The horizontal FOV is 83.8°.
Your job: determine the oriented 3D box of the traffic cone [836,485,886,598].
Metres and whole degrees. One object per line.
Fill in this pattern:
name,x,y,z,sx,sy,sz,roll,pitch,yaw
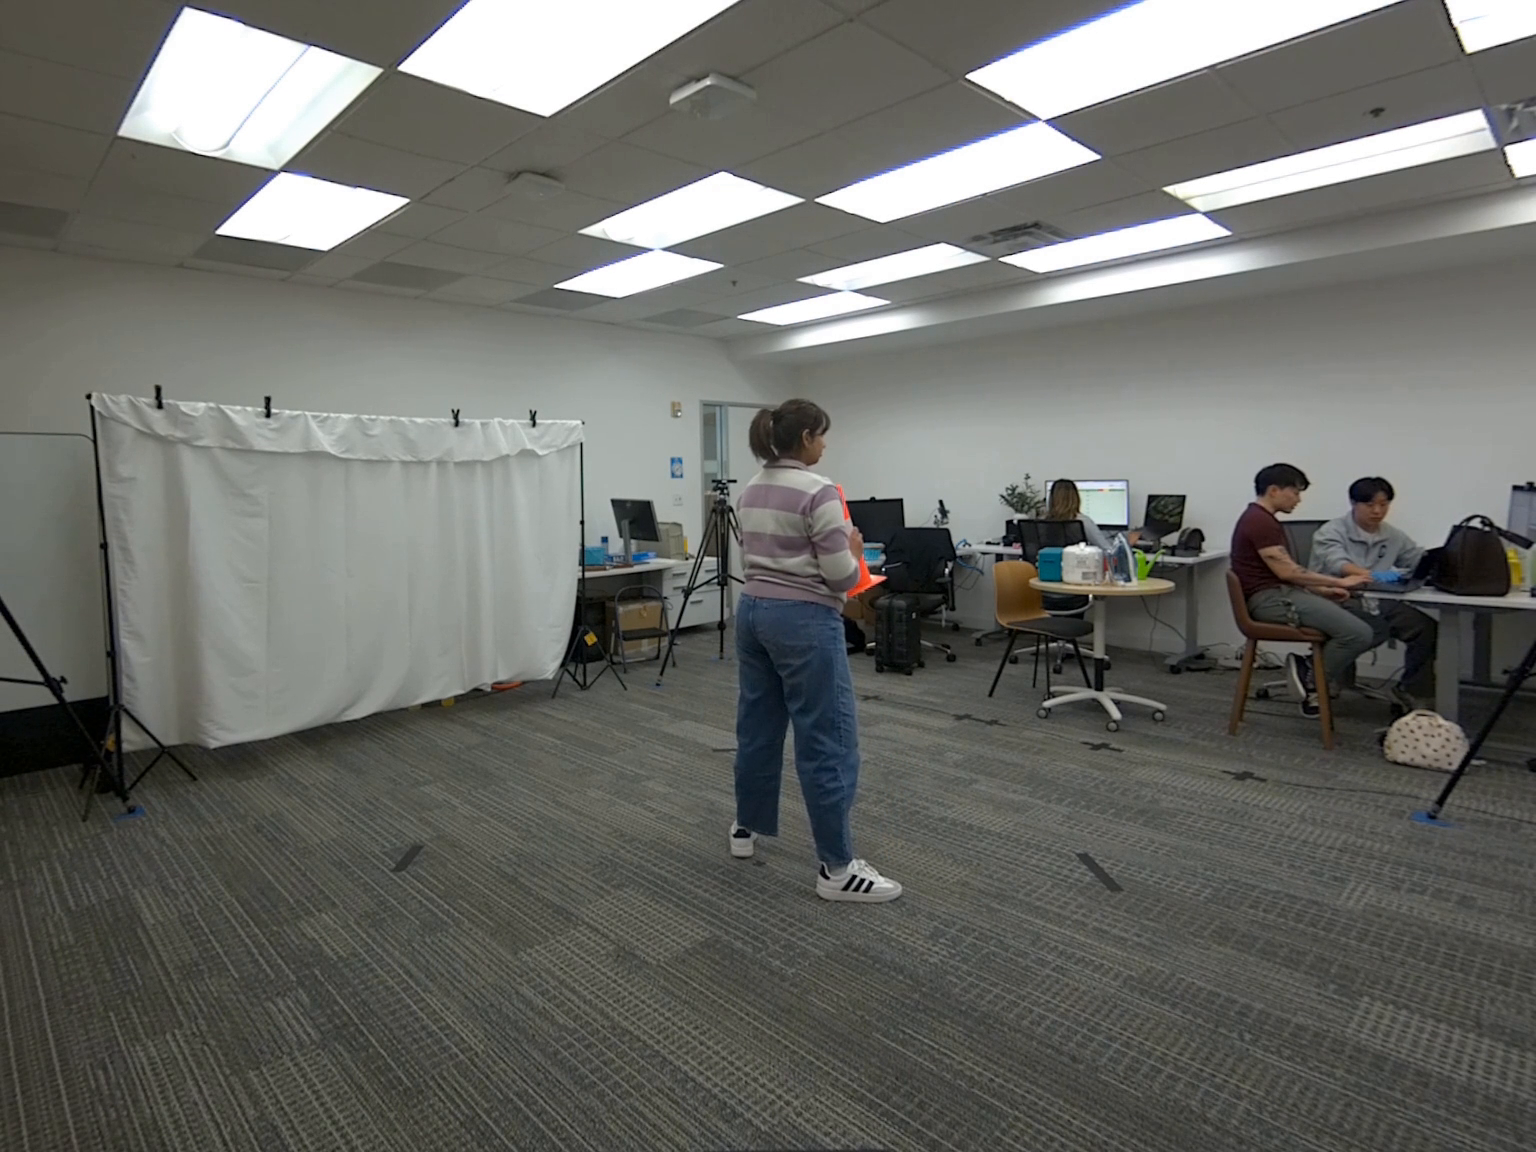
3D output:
traffic cone,0.281,-0.149,3.158,0.210,0.379,0.200,-1,14,37
